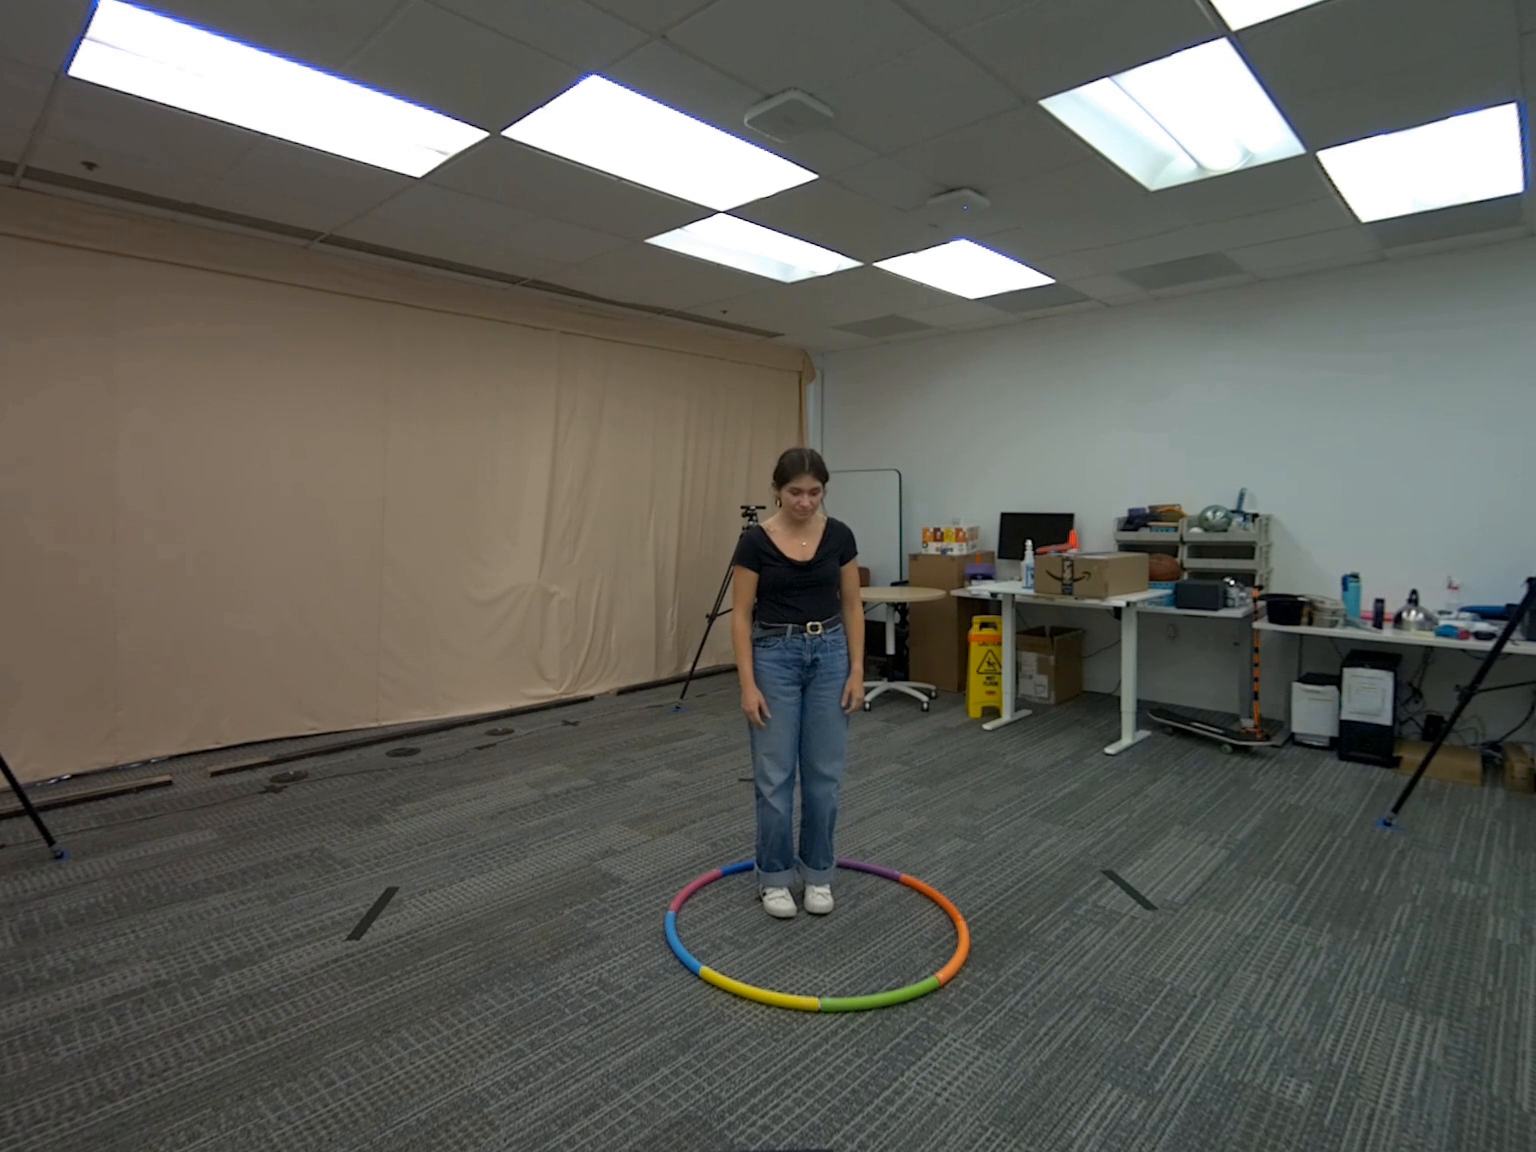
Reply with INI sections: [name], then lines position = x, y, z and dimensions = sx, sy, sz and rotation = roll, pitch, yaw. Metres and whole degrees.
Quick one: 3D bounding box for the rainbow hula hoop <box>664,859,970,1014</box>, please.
[rainbow hula hoop]
position = 0.162, 1.132, 2.795
dimensions = 0.978, 0.035, 0.982
rotation = 0, 5, -2
